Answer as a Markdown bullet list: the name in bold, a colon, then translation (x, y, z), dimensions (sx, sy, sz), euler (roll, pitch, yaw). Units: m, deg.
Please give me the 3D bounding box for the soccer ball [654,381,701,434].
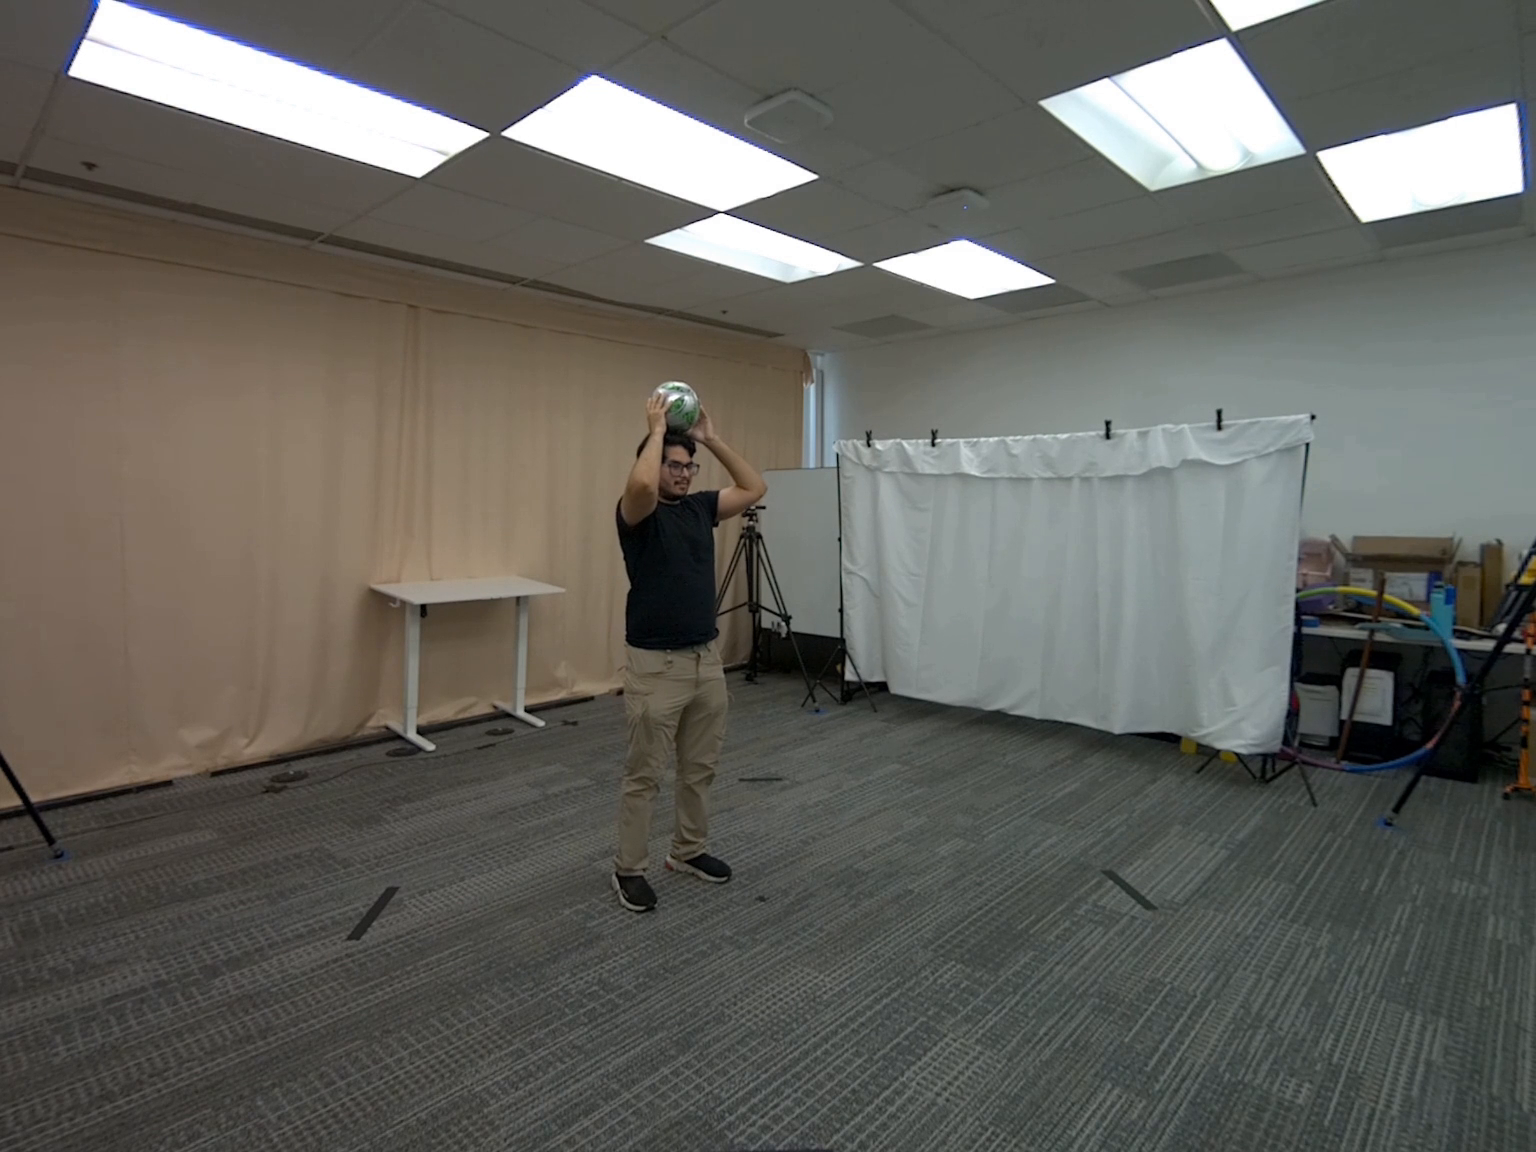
- **soccer ball**: translation (-0.332, -0.593, 2.992), dimensions (0.187, 0.187, 0.188), euler (0, 4, -2)
